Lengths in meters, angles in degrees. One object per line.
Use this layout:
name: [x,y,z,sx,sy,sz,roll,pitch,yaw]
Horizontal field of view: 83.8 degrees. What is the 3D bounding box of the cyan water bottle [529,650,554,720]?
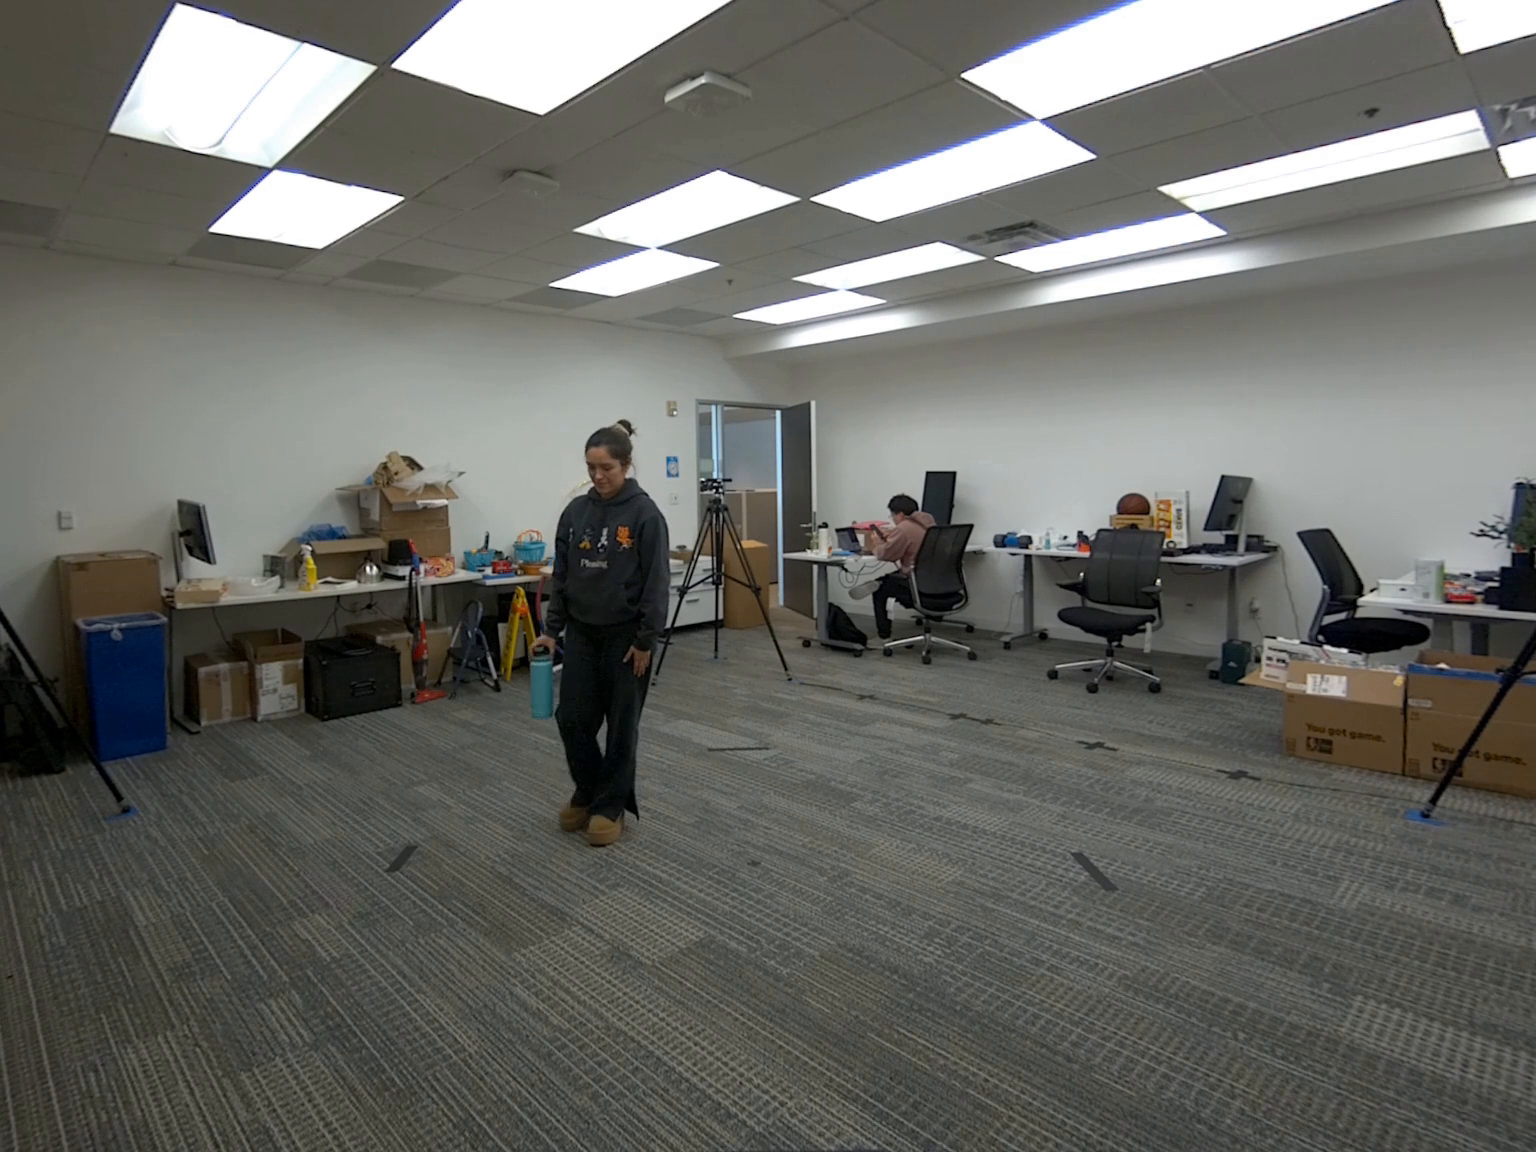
cyan water bottle: [-0.883,0.418,3.392,0.092,0.282,0.093,-1,5,-2]
